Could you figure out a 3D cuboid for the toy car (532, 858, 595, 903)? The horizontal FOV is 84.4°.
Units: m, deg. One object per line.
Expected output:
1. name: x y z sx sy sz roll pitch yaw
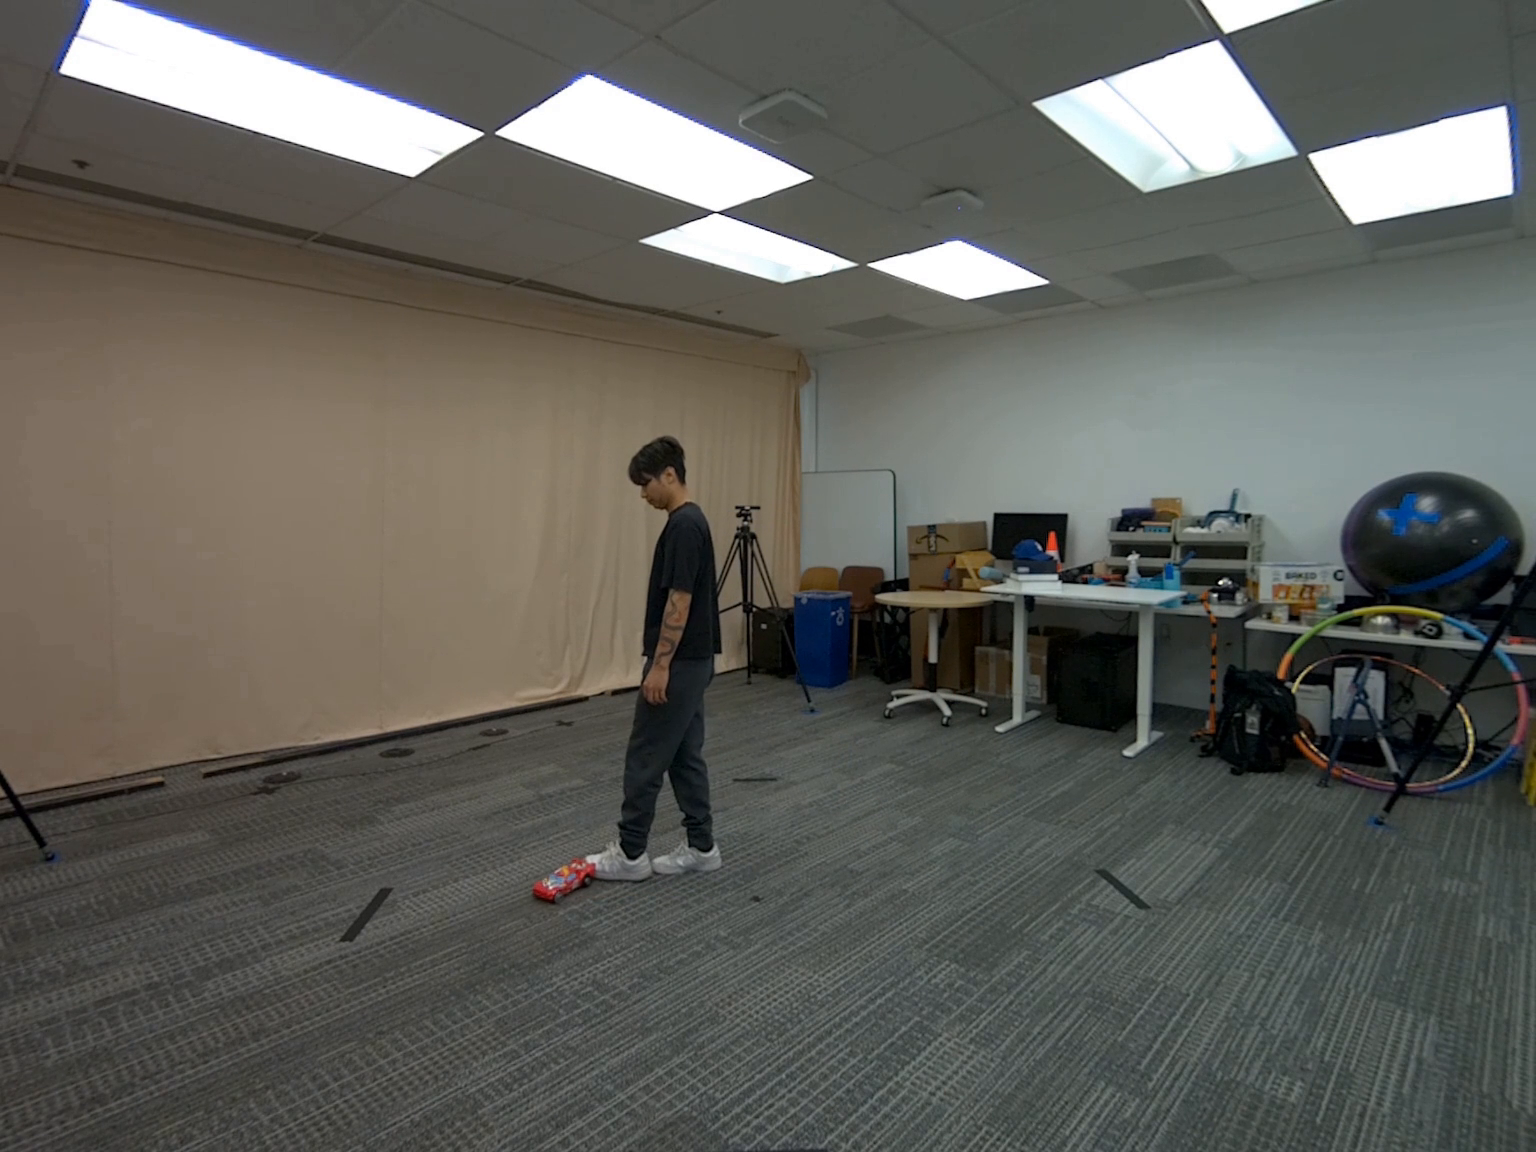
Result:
1. toy car: -0.742 1.112 3.065 0.134 0.082 0.249 2 16 32
